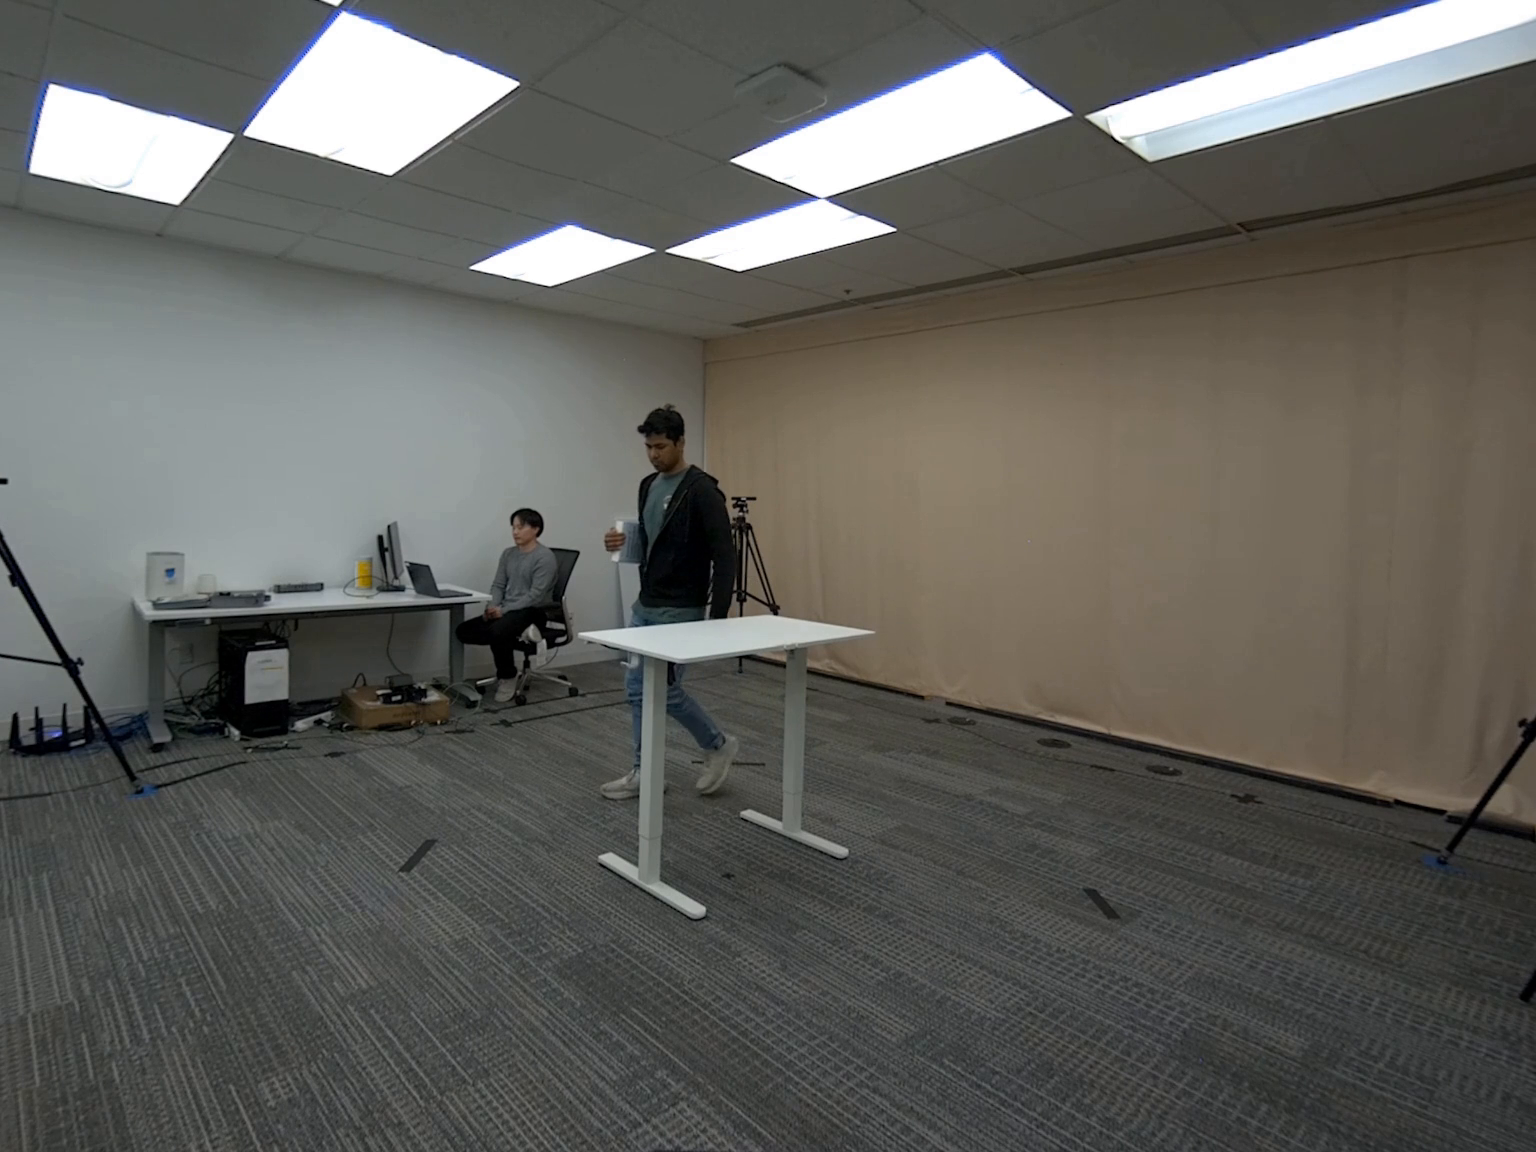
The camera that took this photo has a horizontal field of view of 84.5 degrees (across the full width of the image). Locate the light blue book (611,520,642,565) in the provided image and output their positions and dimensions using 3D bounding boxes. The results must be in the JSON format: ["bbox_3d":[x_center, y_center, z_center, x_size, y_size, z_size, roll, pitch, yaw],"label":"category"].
[{"bbox_3d":[-0.589,-0.148,3.901,0.254,0.191,0.060,7,3,-39],"label":"light blue book"}]
